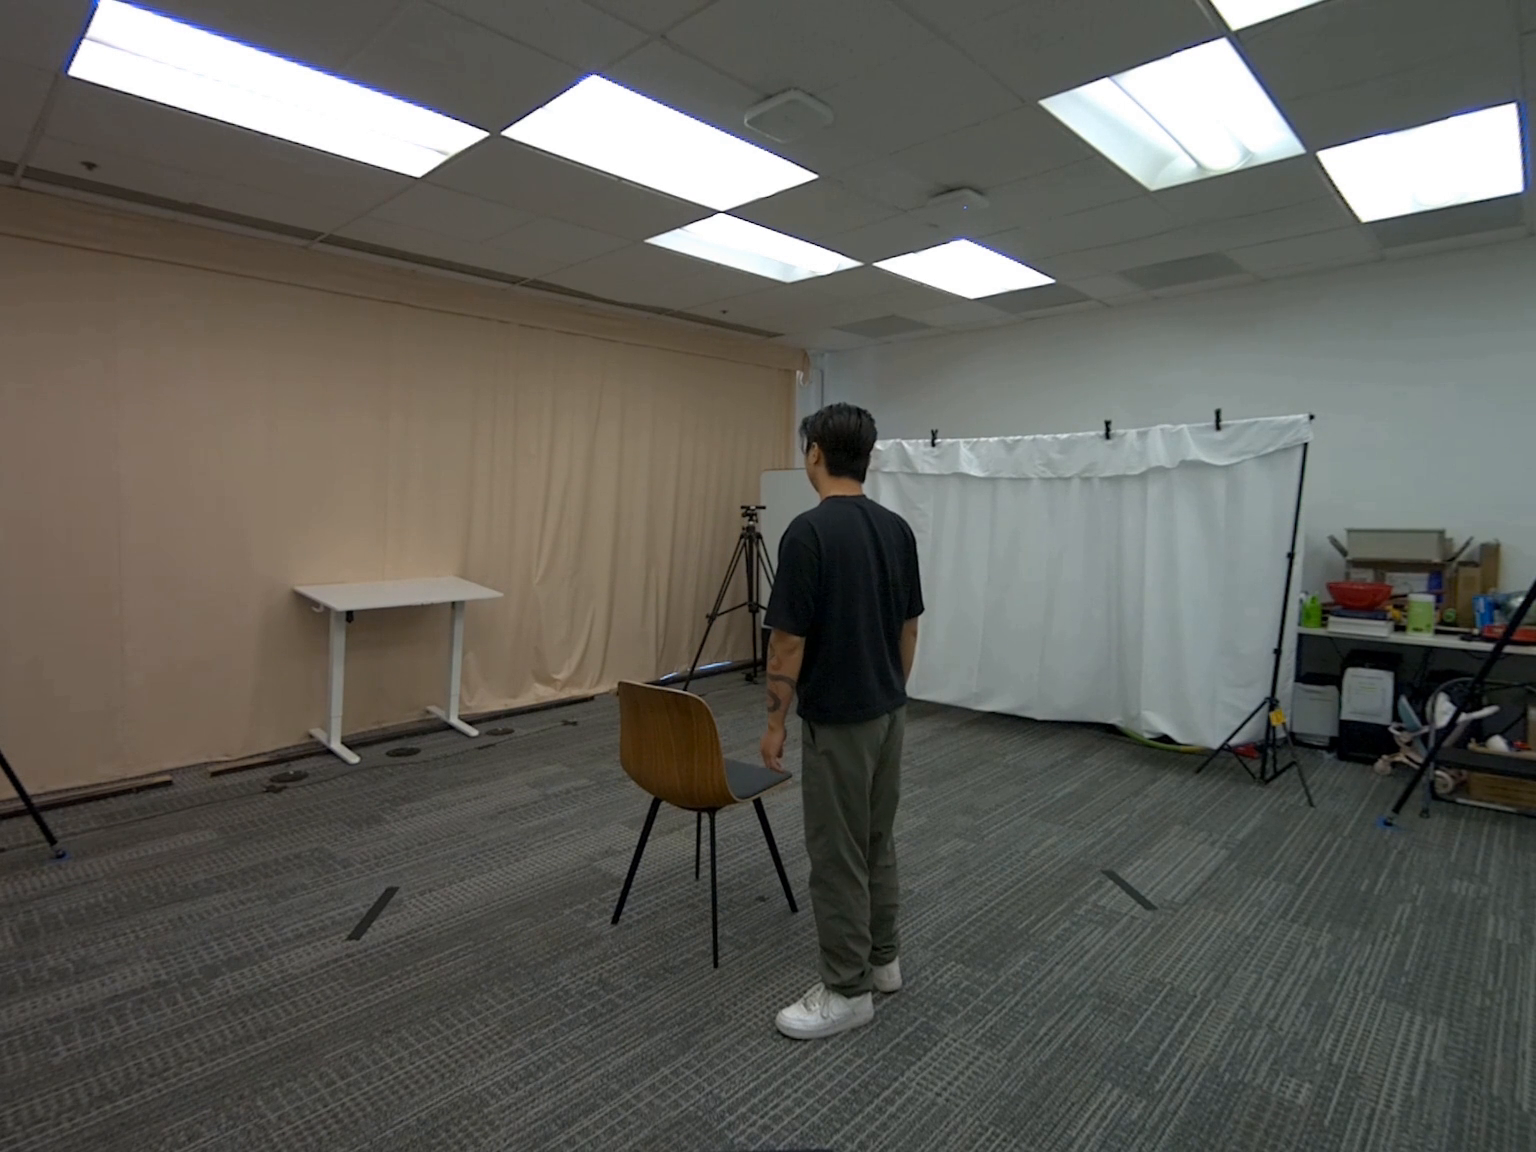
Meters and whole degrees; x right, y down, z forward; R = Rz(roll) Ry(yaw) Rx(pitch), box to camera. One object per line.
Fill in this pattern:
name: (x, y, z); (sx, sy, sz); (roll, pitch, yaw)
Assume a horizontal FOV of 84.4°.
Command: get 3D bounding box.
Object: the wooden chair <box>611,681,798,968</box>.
wooden chair: (-0.206, 0.730, 2.827); (0.493, 0.874, 0.509); (2, 8, 36)
